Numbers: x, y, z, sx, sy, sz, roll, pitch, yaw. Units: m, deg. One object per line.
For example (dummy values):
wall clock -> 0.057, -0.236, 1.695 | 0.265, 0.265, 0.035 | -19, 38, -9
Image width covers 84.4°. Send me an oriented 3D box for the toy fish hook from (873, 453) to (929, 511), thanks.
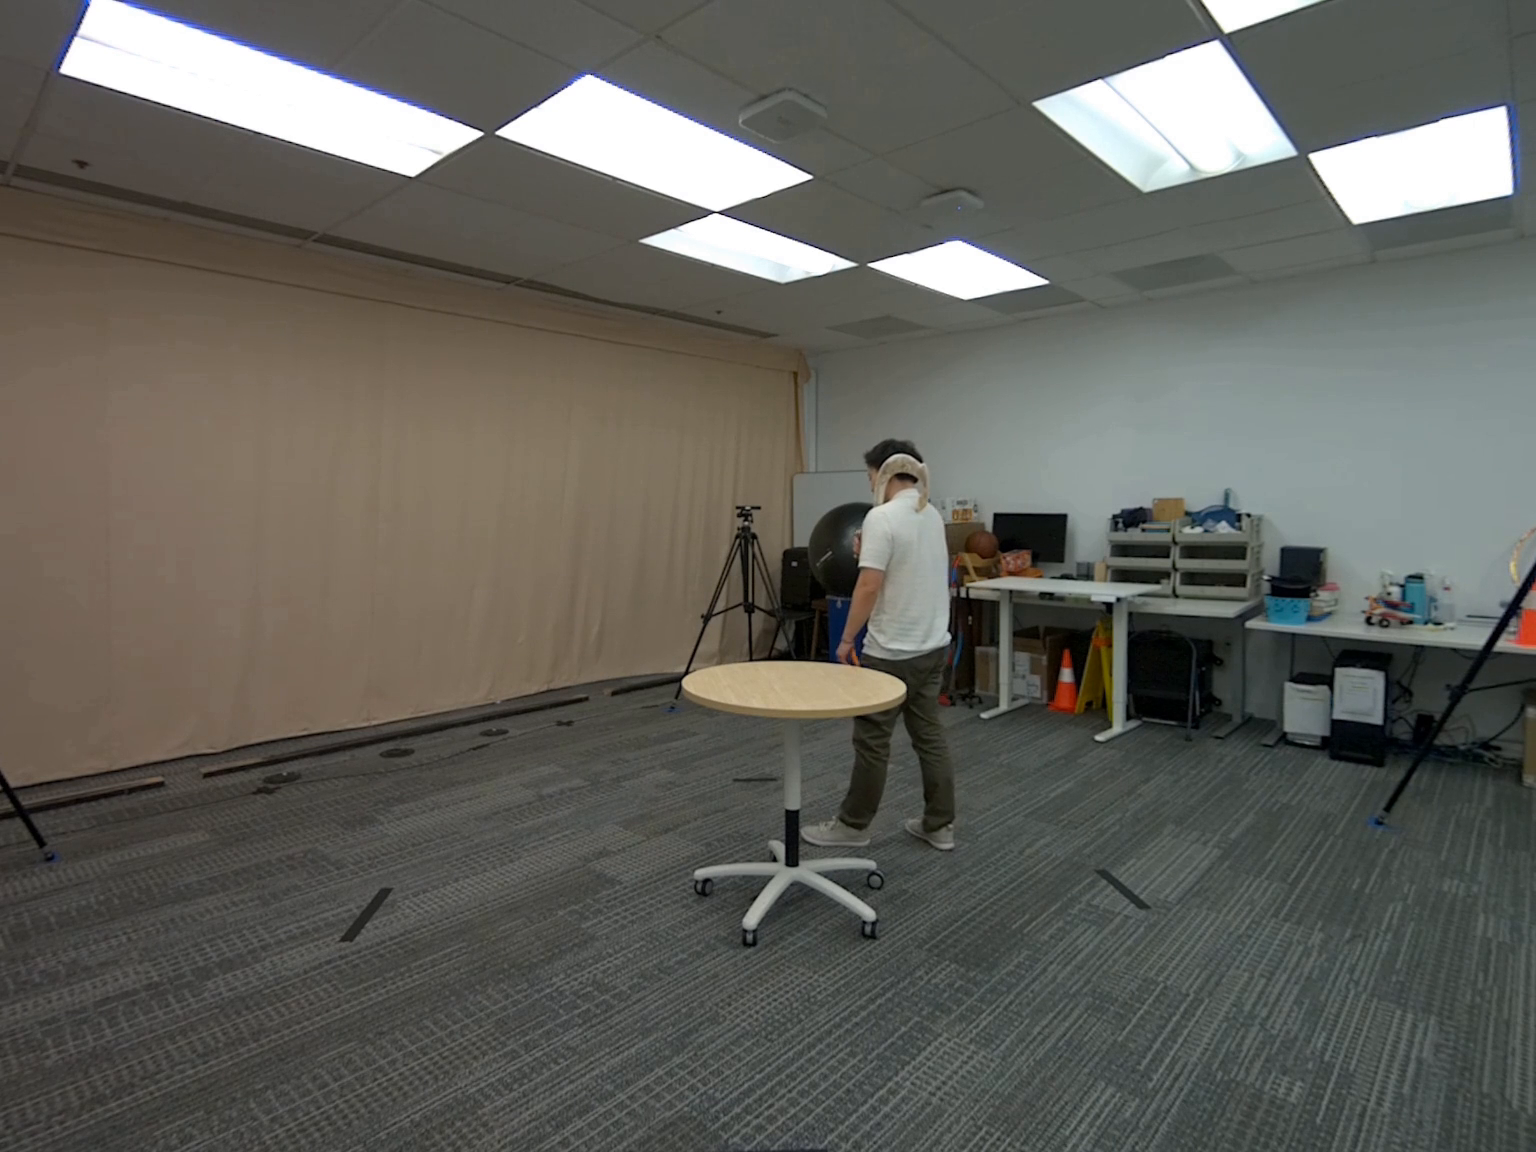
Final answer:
toy fish hook -> 0.504, -0.252, 3.414 | 0.231, 0.503, 0.047 | 35, 33, 25
